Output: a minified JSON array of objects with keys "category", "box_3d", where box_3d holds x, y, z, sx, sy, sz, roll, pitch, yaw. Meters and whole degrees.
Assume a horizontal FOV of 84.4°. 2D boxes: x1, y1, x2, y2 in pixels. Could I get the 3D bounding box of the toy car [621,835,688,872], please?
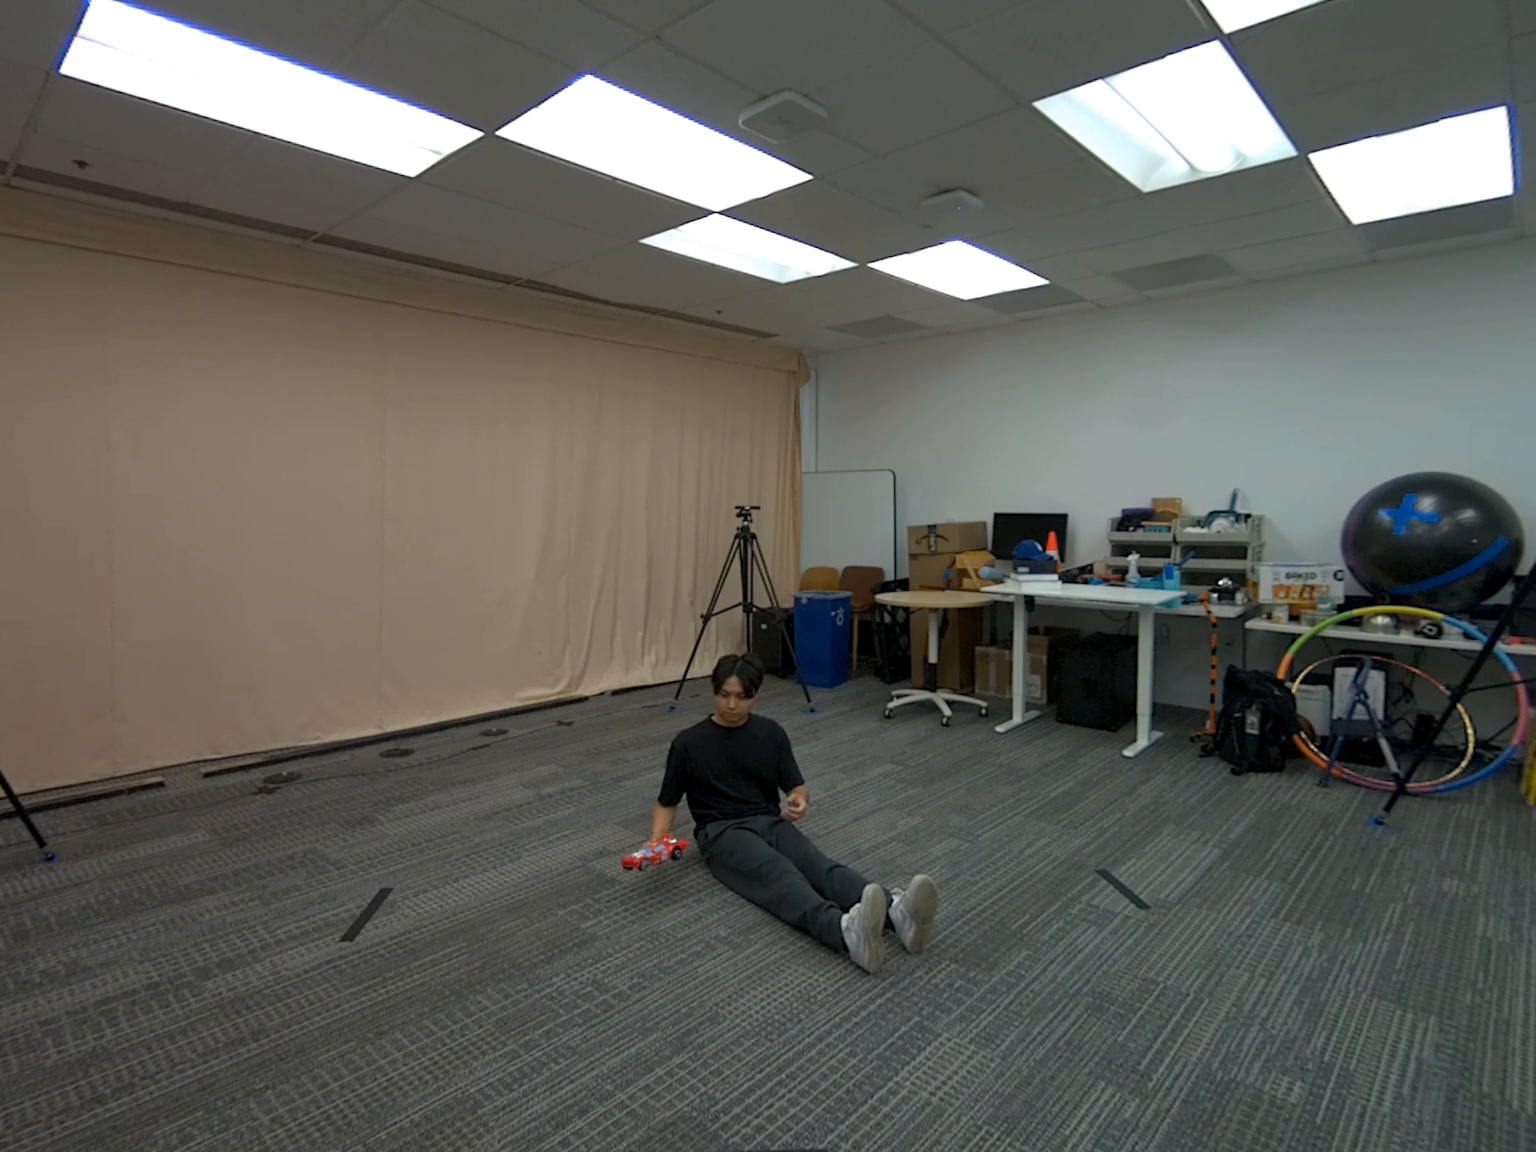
[{"category":"toy car","box_3d":[-0.392,0.985,3.001,0.133,0.083,0.248,-16,2,45]}]
